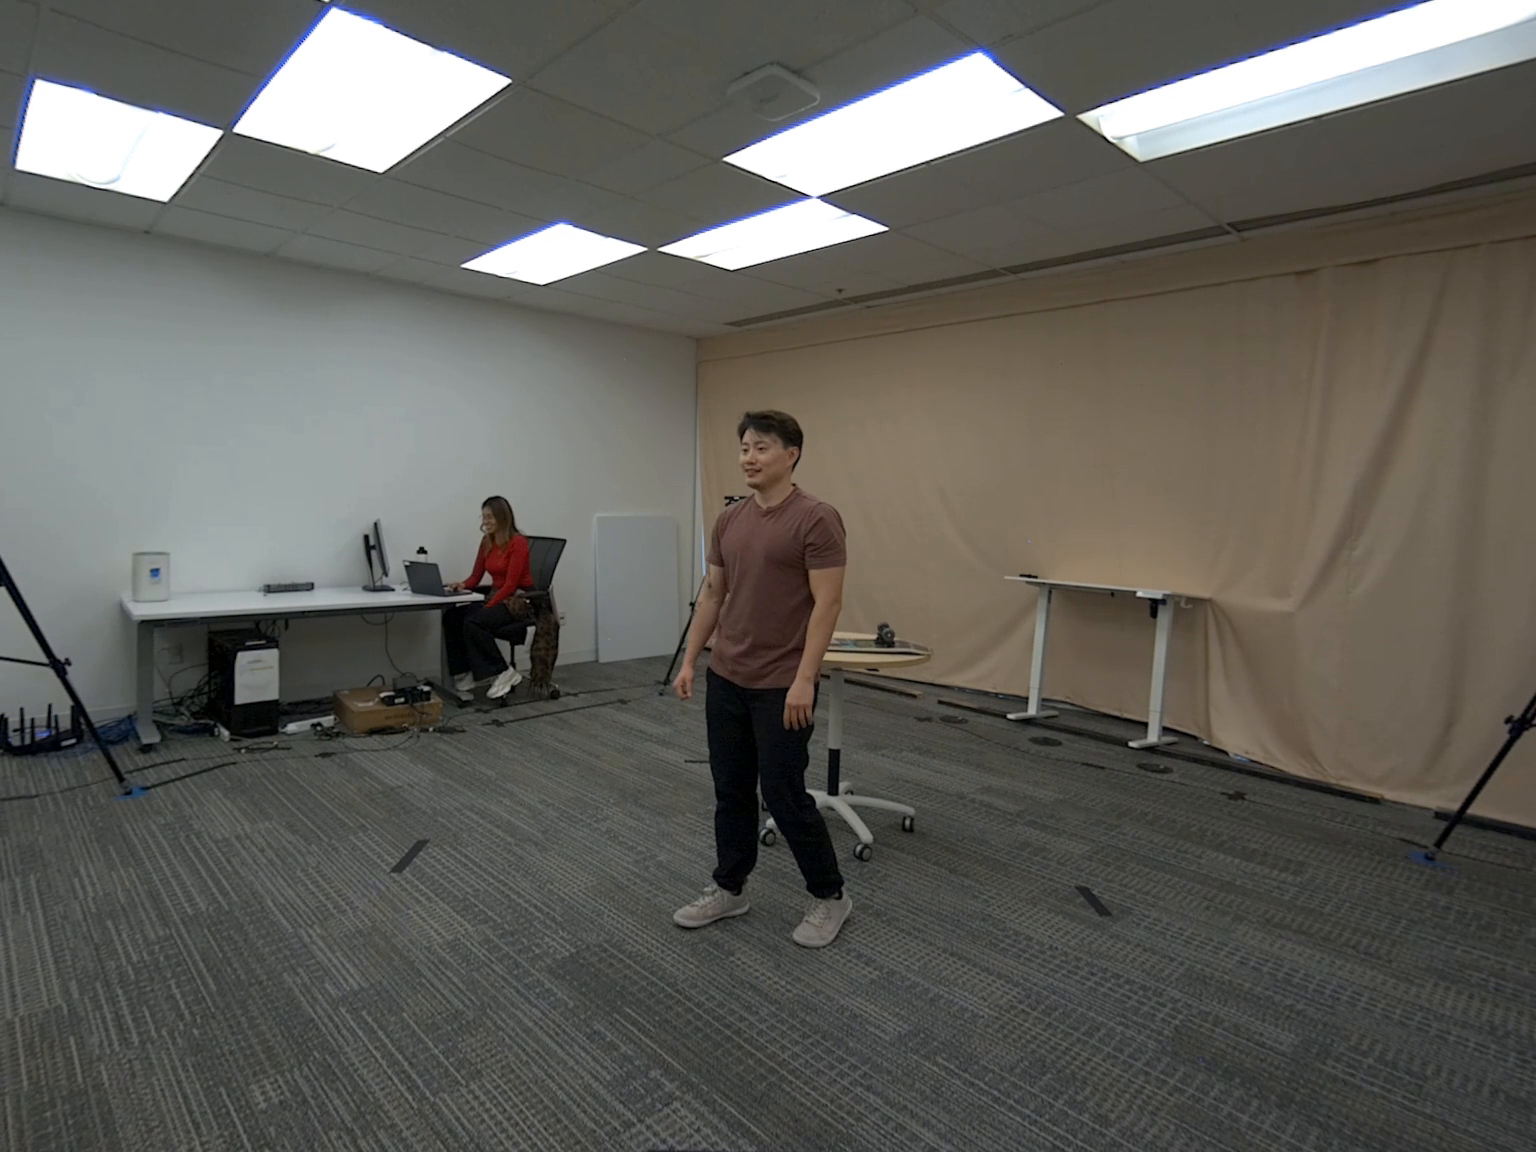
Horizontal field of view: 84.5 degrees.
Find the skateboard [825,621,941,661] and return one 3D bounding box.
[{"bbox_3d":[0.286,0.255,3.460,0.787,0.110,0.194,2,6,2],"label":"skateboard"}]
